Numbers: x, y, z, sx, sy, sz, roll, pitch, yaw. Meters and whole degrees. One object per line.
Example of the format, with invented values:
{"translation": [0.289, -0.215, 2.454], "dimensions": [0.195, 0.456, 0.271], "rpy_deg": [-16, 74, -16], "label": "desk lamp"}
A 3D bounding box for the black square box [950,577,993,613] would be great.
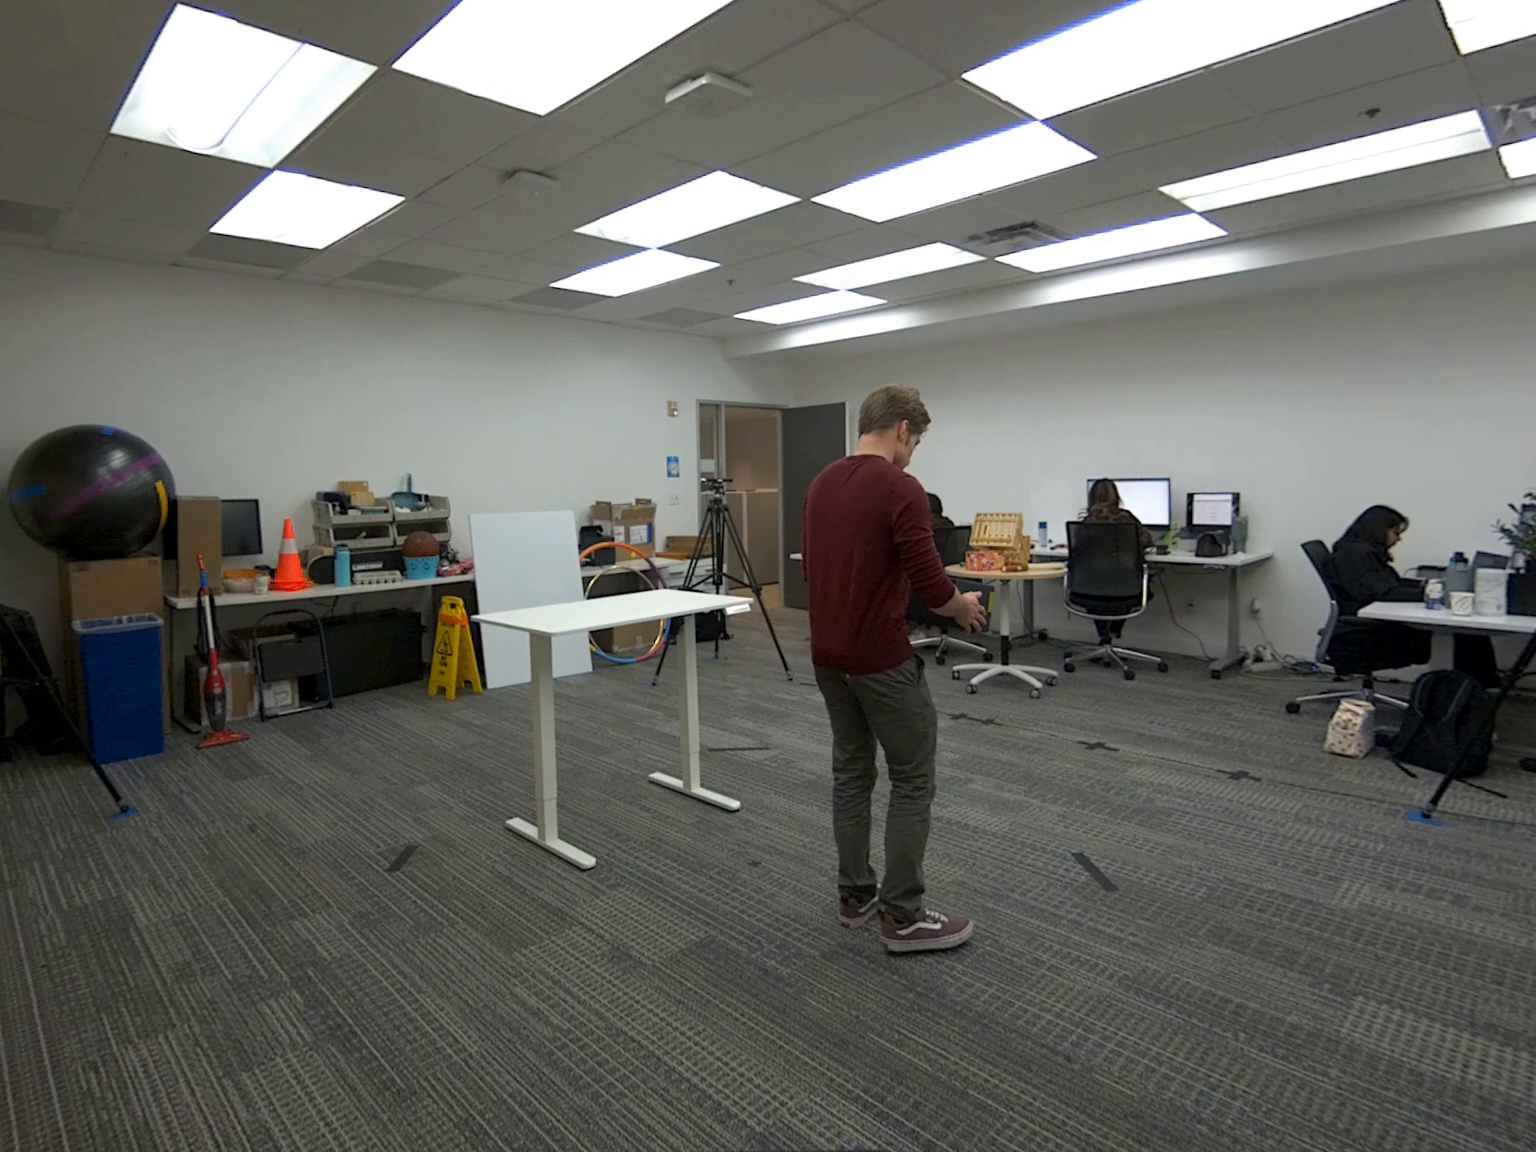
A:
{"translation": [0.588, 0.086, 2.781], "dimensions": [0.210, 0.156, 0.235], "rpy_deg": [9, 0, -40], "label": "black square box"}
